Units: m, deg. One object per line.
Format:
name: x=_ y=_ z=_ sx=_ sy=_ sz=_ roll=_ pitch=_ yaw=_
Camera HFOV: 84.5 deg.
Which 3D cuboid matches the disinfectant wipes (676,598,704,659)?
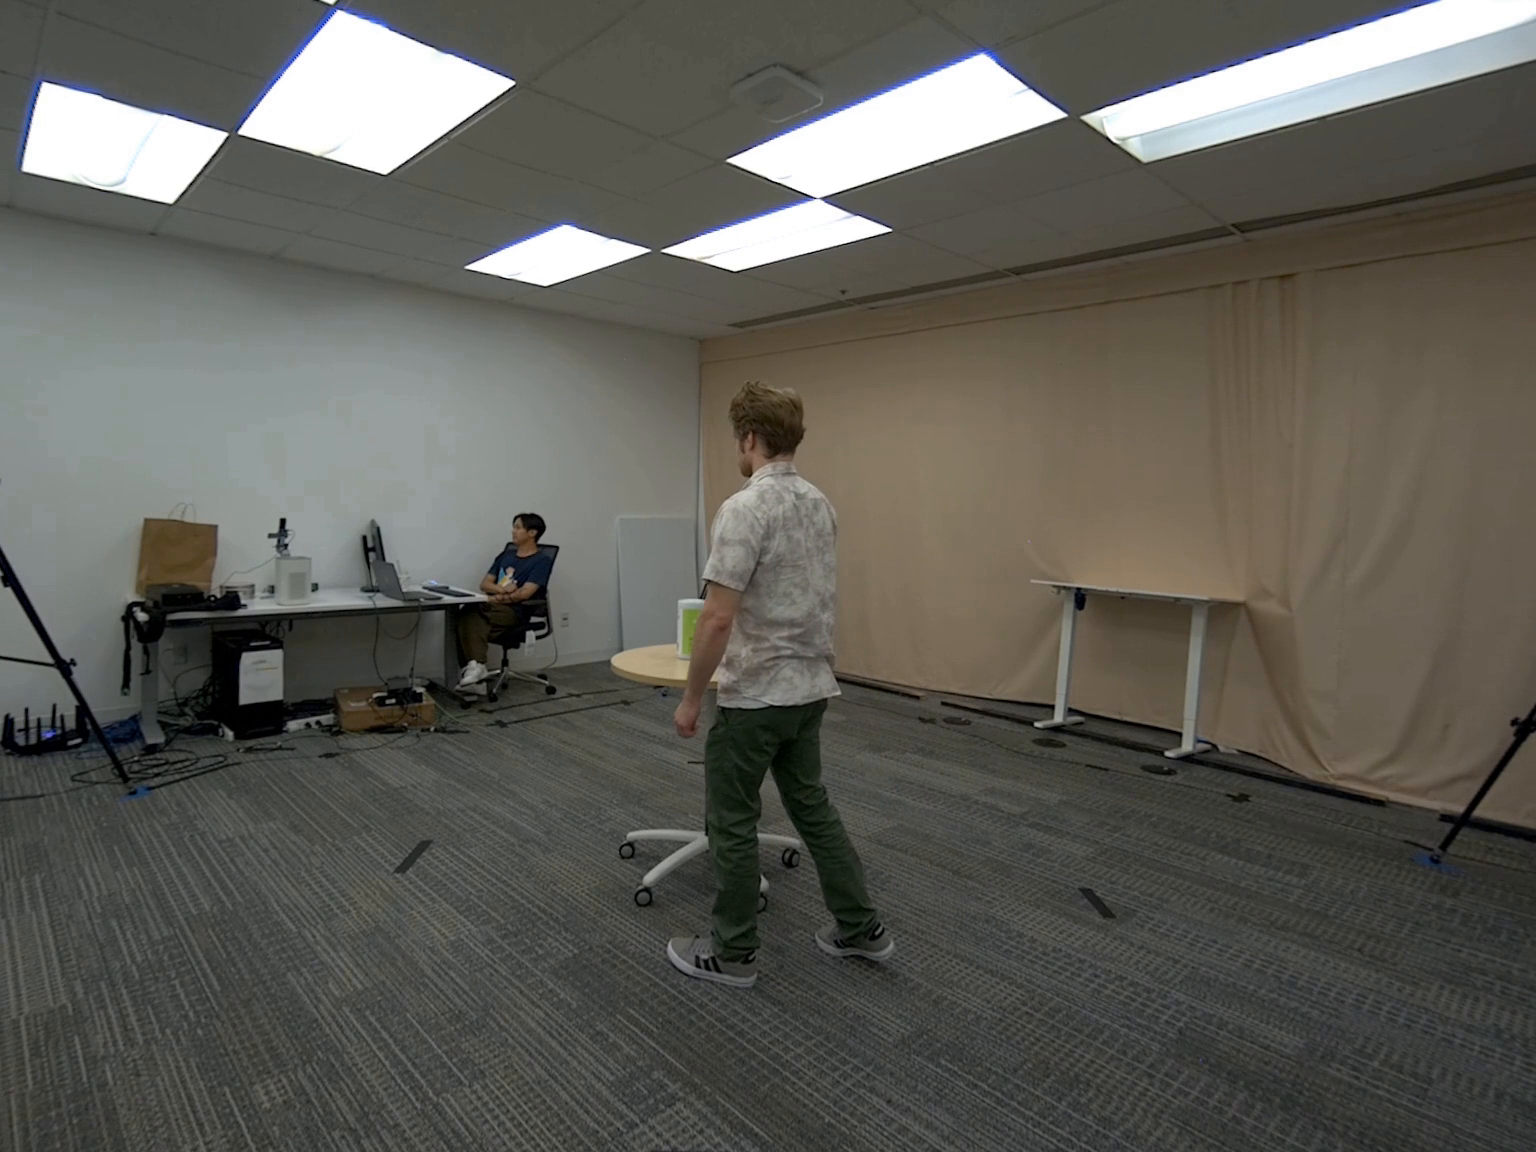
disinfectant wipes: x=-0.293 y=0.201 z=3.132 sx=0.118 sy=0.217 sz=0.118 roll=1 pitch=3 yaw=-1
